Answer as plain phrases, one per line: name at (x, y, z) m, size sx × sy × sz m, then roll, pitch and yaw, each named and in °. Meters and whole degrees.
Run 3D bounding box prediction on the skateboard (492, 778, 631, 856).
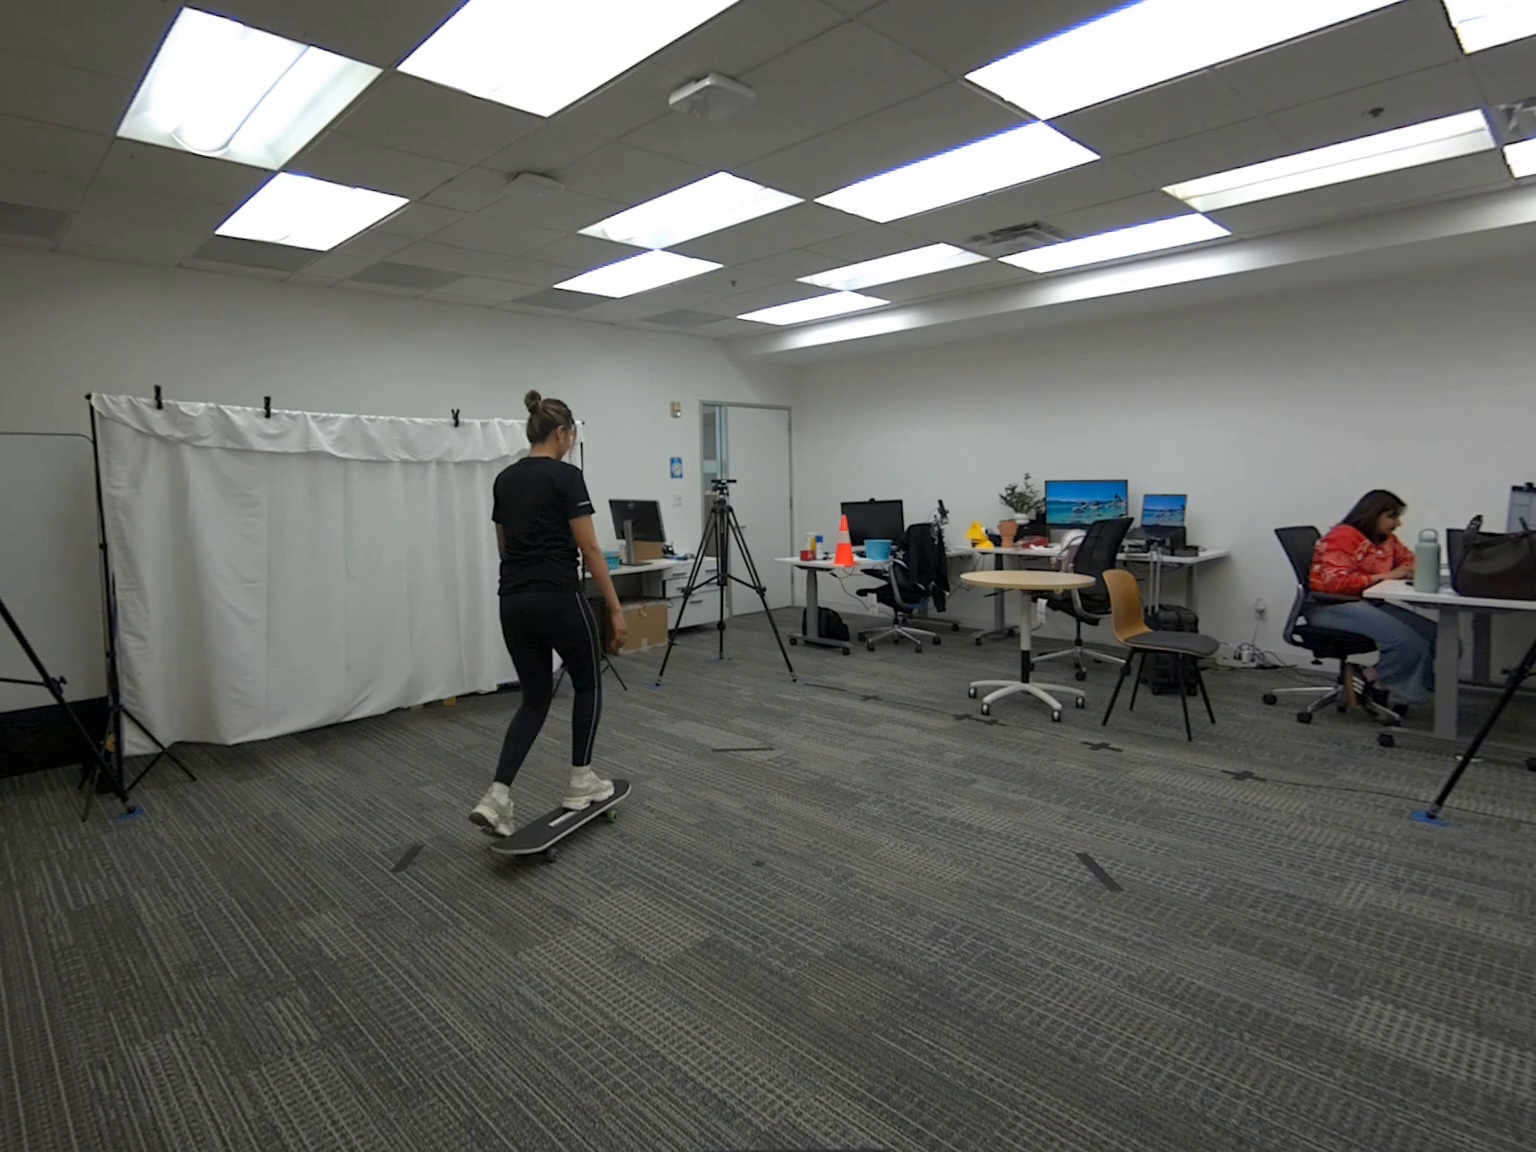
skateboard at (-0.795, 0.978, 3.365) m, size 0.197 × 0.110 × 0.772 m, roll -1°, pitch 6°, yaw 23°
